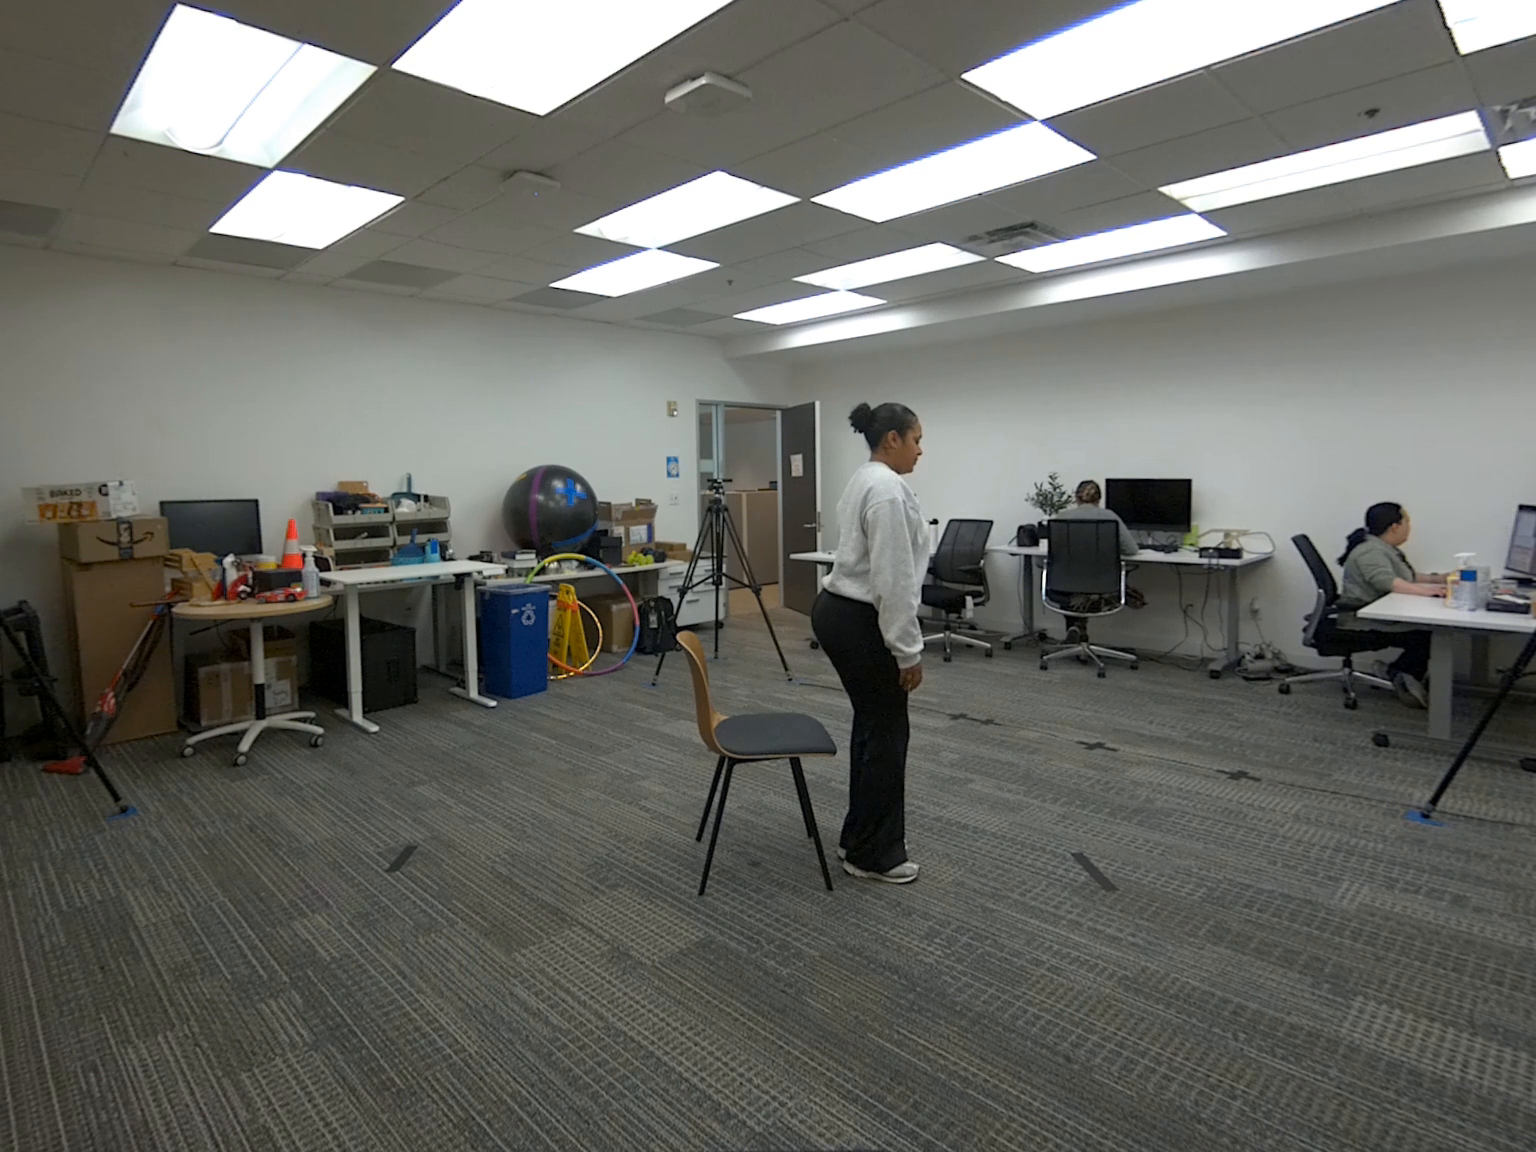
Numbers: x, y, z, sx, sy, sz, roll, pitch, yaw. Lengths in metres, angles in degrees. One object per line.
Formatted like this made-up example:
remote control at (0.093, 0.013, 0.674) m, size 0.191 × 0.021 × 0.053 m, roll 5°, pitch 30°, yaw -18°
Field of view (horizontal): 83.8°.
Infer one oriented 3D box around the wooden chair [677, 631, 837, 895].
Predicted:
wooden chair at (-0.028, 0.618, 3.071) m, size 0.521 × 0.874 × 0.482 m, roll -5°, pitch 4°, yaw -5°
